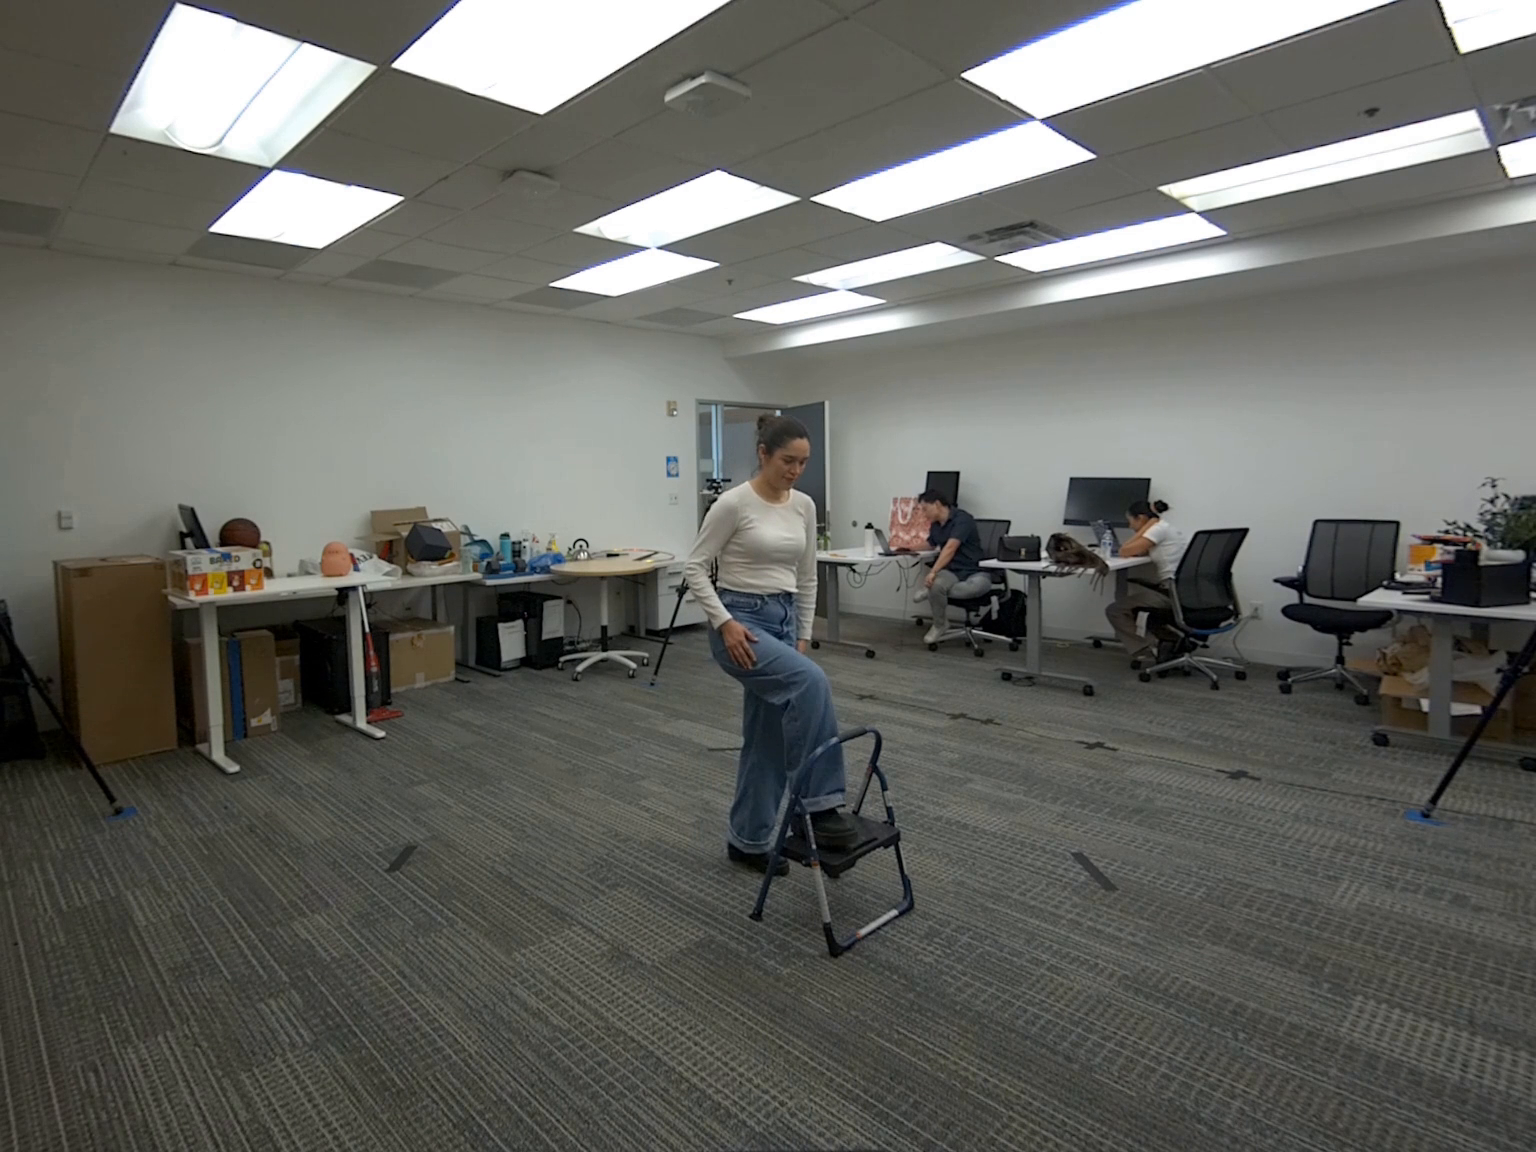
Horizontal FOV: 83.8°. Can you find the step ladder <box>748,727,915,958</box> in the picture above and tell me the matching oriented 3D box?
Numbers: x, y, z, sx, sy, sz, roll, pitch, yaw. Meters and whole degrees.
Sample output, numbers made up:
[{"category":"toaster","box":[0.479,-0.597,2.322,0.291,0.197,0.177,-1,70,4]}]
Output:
[{"category":"step ladder","box":[0.207,0.779,2.727,0.360,0.604,0.419,3,6,44]}]
